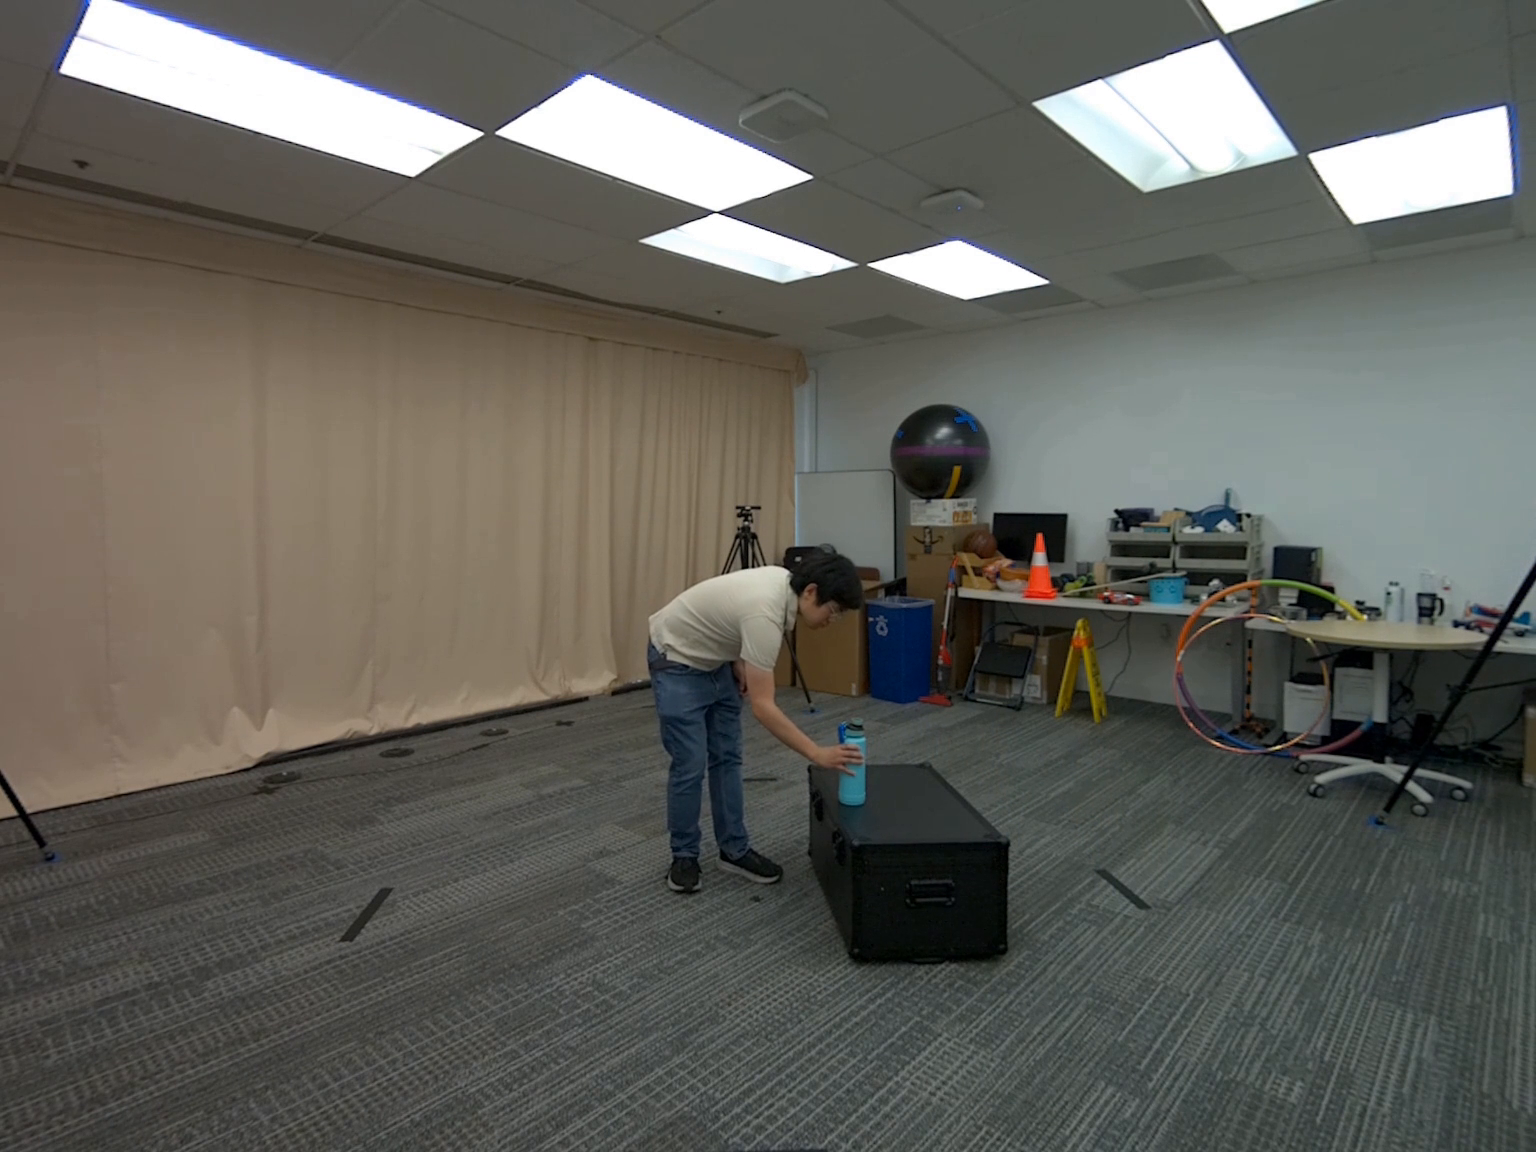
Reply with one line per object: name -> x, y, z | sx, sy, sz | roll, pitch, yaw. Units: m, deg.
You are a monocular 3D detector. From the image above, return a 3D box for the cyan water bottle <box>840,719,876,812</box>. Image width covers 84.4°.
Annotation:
cyan water bottle -> 0.302, 0.640, 2.878 | 0.092, 0.283, 0.092 | 2, 4, -2
